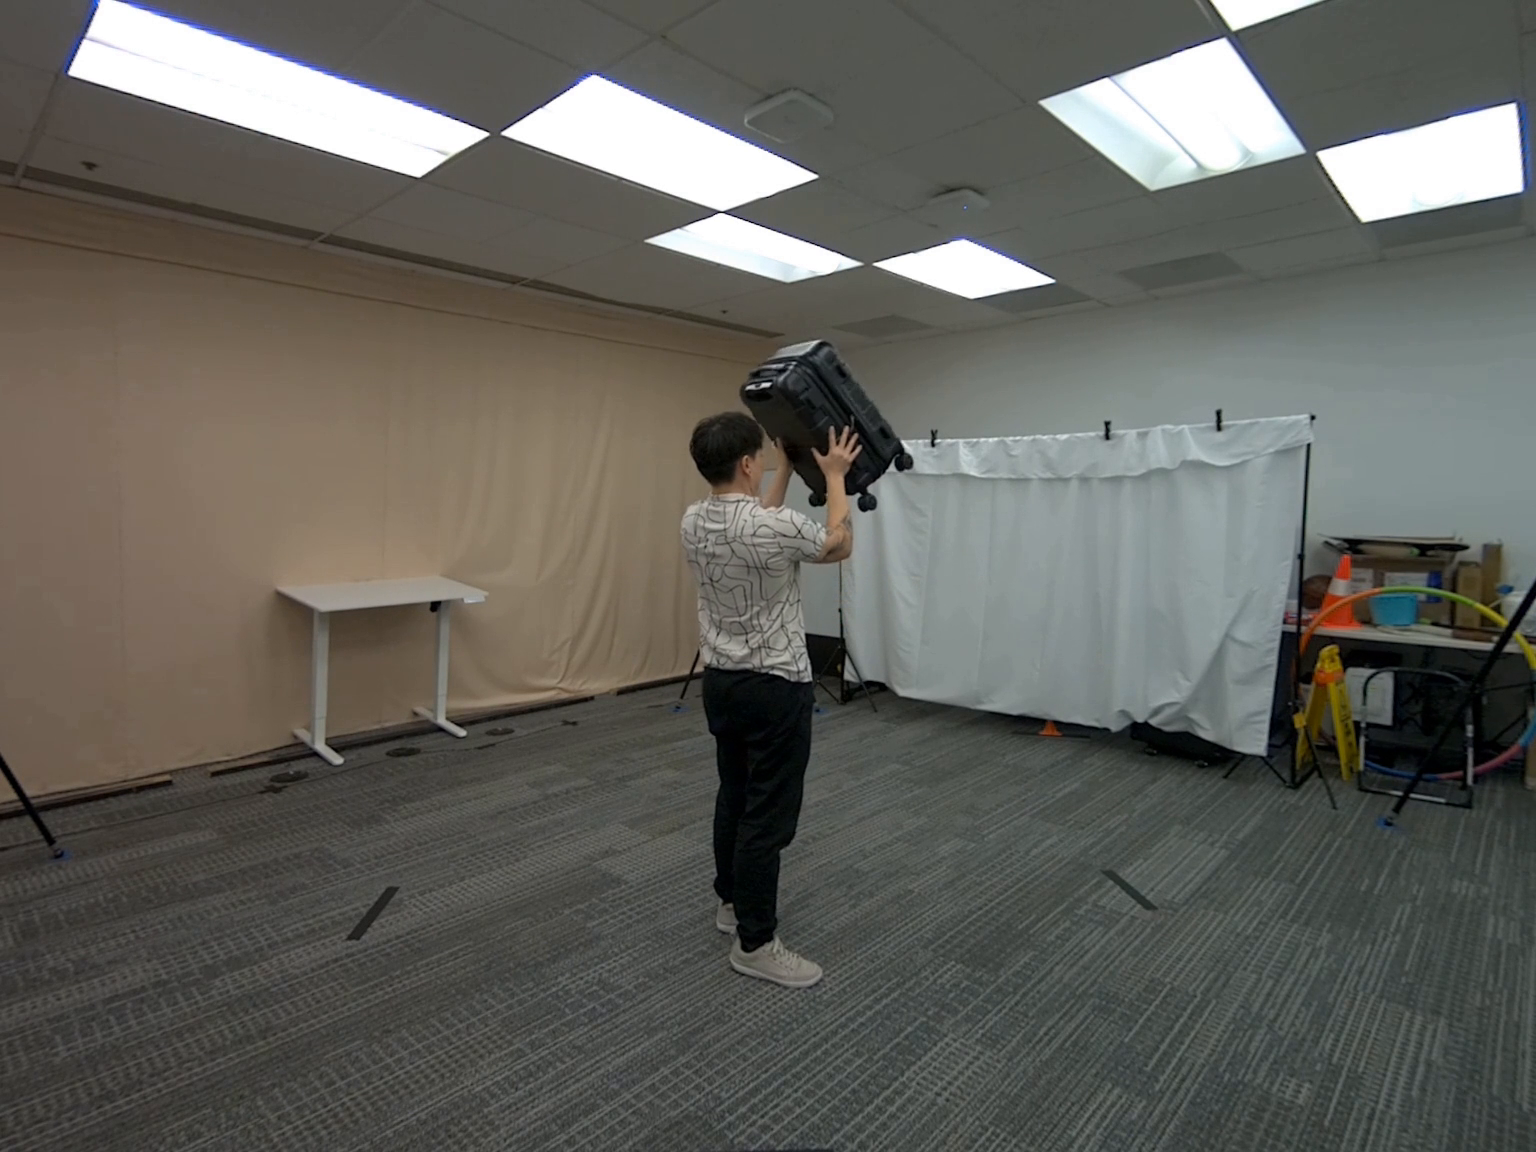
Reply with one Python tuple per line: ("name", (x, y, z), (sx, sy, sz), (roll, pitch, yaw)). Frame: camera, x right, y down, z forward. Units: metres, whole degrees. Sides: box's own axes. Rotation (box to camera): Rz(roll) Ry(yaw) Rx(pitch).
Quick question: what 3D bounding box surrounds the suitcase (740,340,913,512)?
("suitcase", (0.184, -0.510, 2.843), (0.247, 0.536, 0.386), (-45, 23, -15))
